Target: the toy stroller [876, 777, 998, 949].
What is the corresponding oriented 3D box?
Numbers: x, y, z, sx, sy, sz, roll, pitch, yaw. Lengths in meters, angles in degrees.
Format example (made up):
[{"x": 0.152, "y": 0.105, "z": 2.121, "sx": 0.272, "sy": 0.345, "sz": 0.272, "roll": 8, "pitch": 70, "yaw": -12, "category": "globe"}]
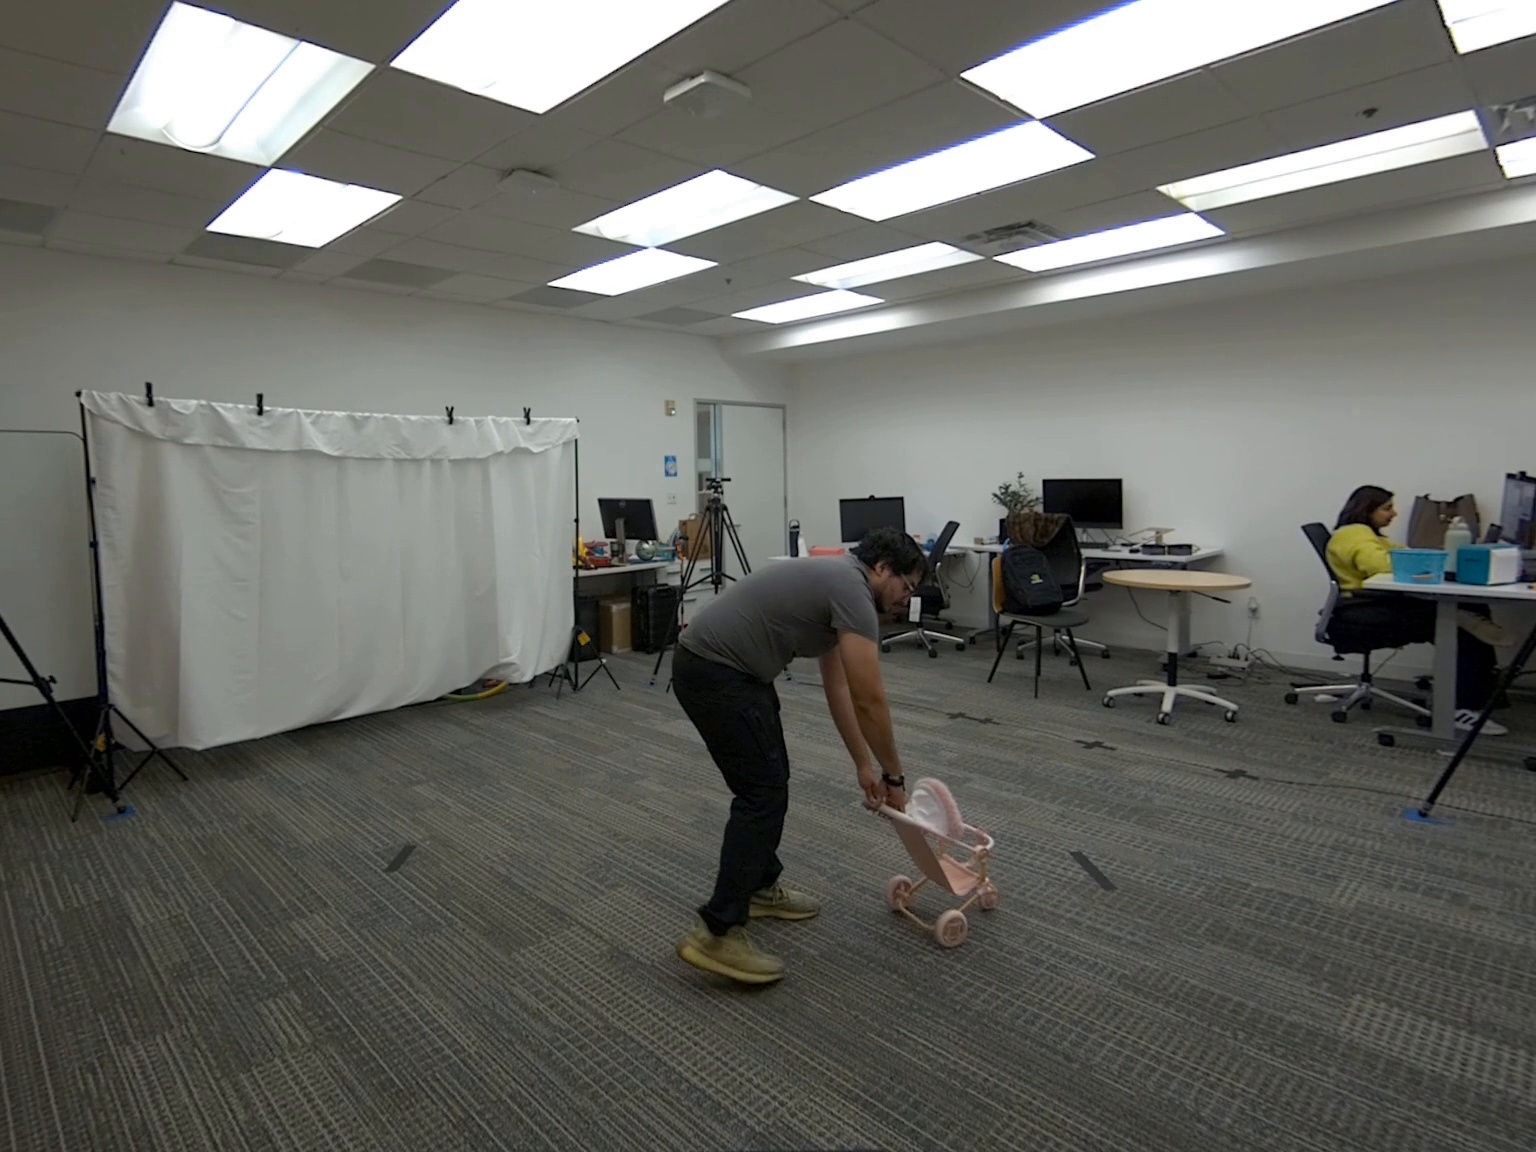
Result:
[{"x": 0.532, "y": 0.857, "z": 2.650, "sx": 0.337, "sy": 0.529, "sz": 0.288, "roll": -20, "pitch": 11, "yaw": -21, "category": "toy stroller"}]
